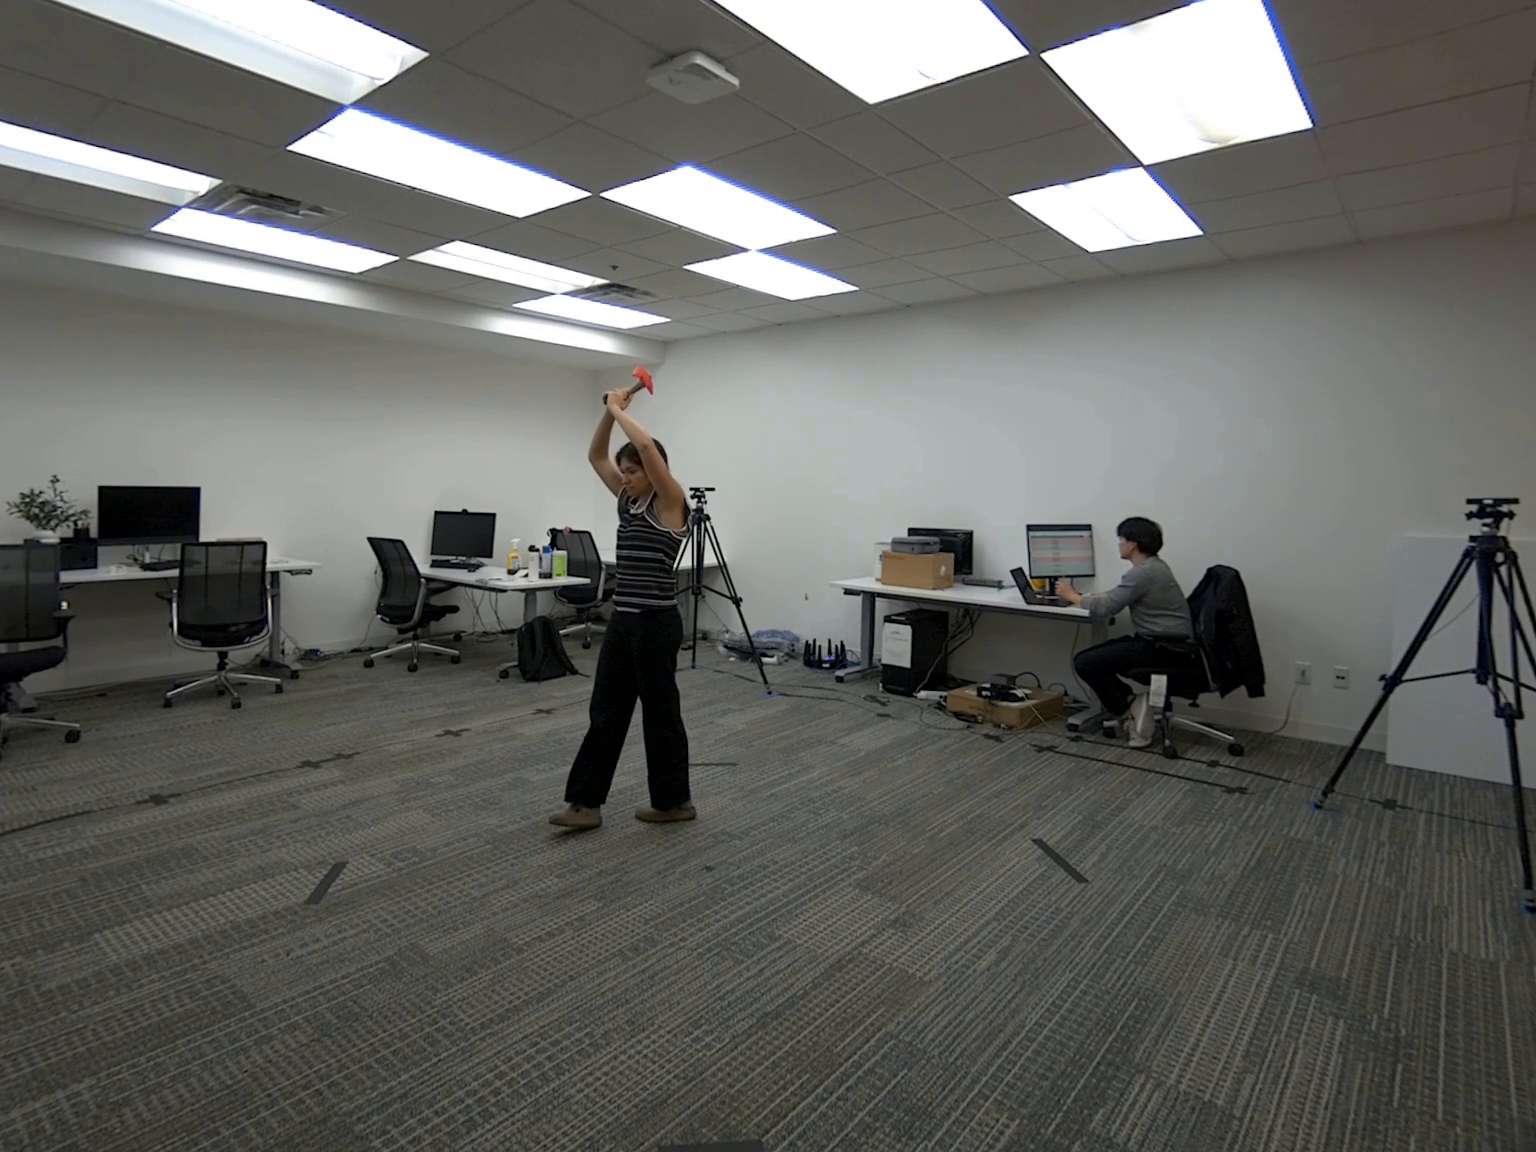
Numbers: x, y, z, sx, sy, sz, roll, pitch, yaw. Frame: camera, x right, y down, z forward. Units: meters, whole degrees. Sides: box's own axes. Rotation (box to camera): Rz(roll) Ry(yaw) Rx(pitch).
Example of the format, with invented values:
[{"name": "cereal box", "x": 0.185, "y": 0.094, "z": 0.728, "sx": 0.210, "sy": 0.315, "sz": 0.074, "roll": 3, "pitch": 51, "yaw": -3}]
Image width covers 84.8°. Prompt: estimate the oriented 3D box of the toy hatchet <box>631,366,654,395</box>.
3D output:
[{"name": "toy hatchet", "x": -0.588, "y": -0.785, "z": 3.450, "sx": 0.030, "sy": 0.129, "sz": 0.265, "roll": 7, "pitch": 22, "yaw": 40}]
